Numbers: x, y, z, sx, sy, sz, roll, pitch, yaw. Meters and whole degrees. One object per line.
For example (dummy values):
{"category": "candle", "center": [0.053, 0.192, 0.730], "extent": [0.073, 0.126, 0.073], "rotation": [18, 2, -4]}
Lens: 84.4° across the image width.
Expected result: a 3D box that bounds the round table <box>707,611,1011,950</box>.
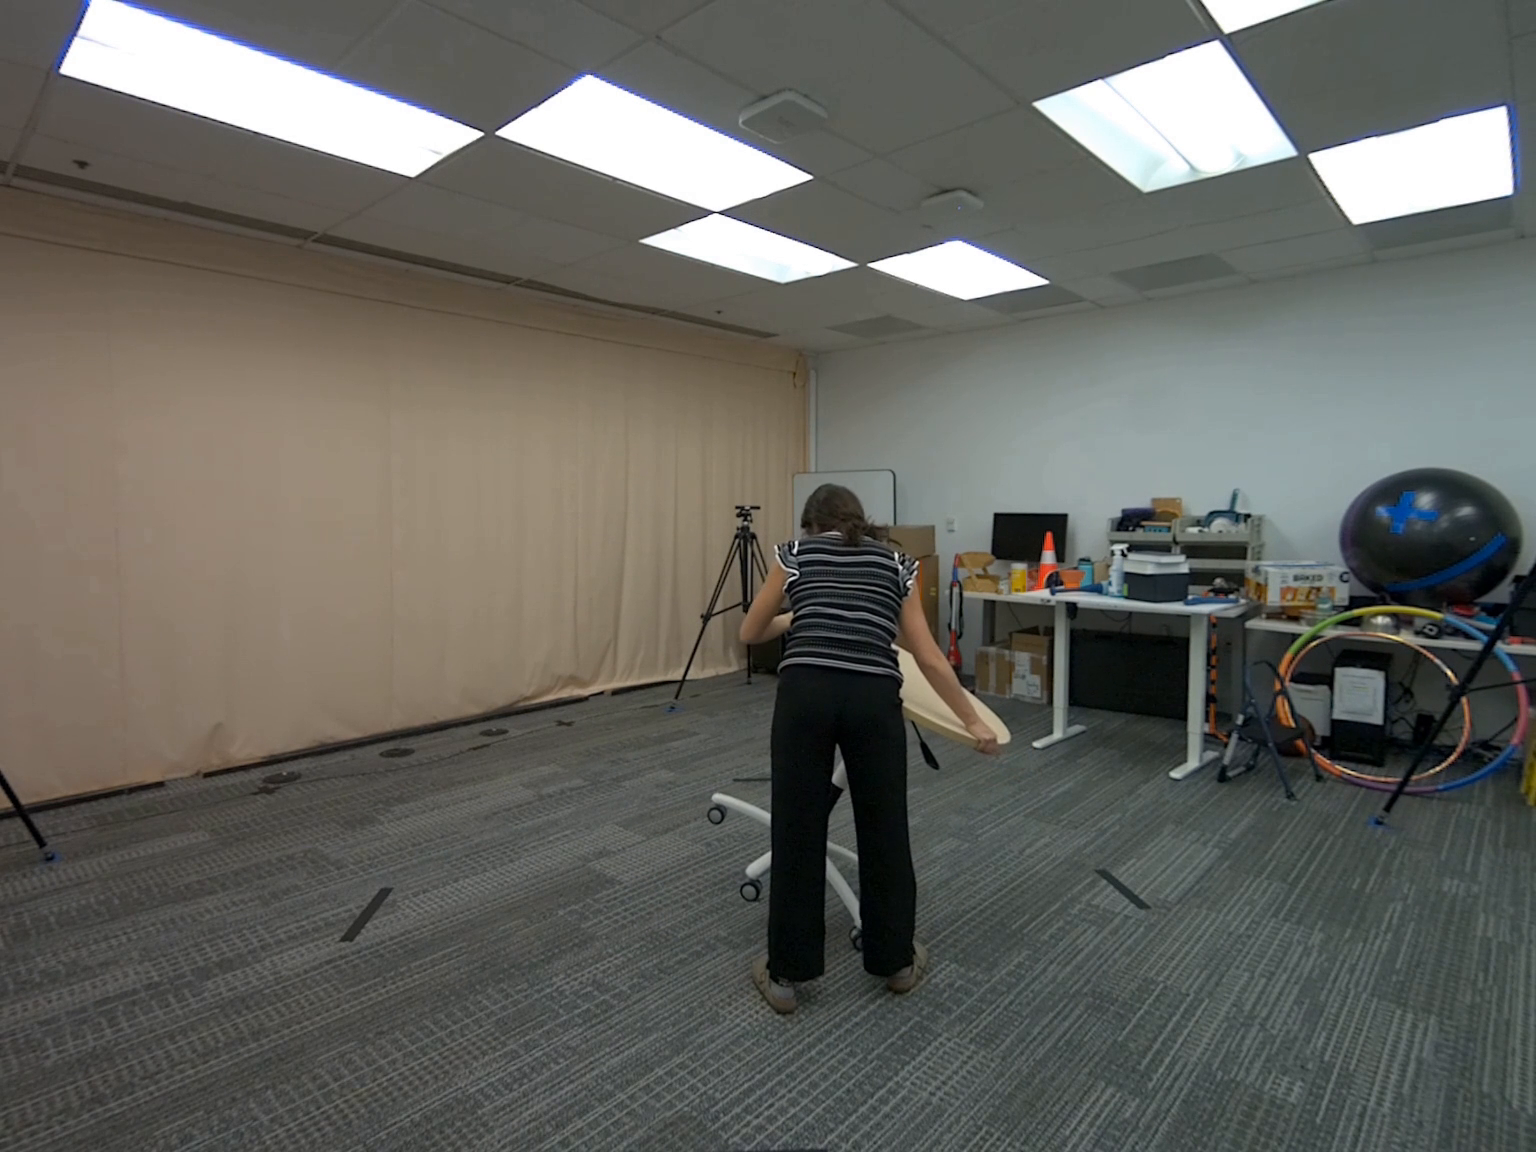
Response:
{"category": "round table", "center": [0.243, 0.661, 2.822], "extent": [0.780, 0.786, 0.792], "rotation": [26, 10, -7]}
